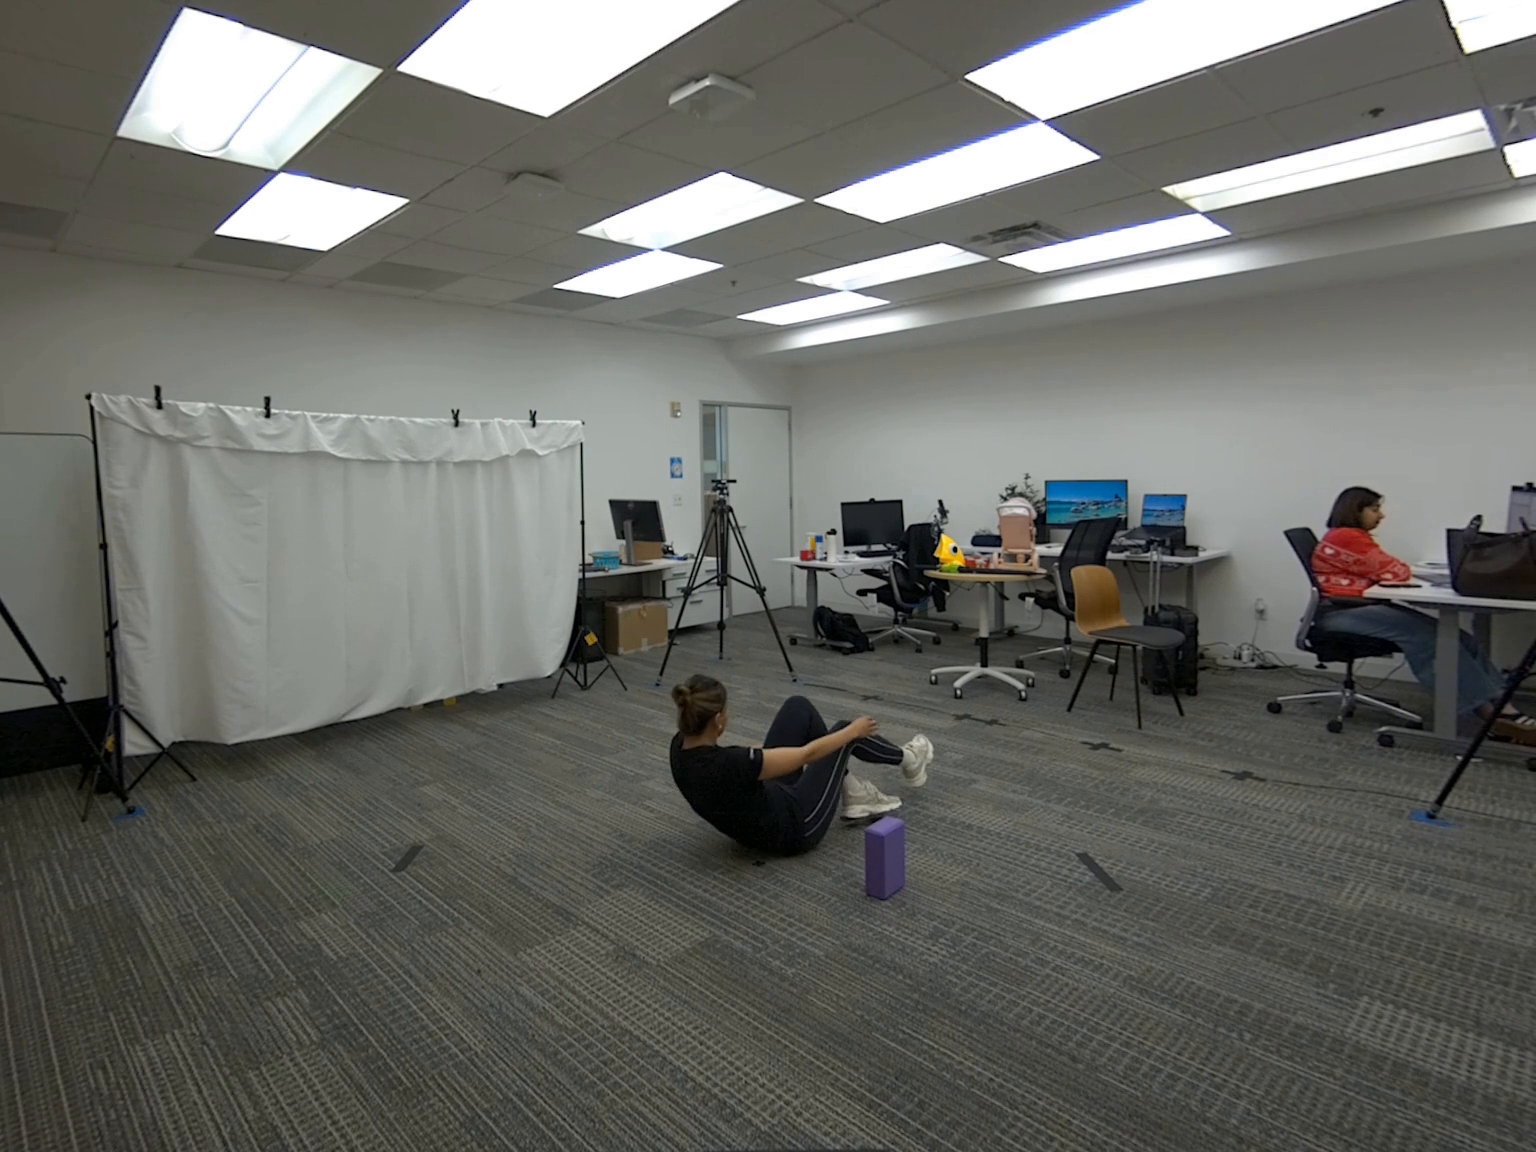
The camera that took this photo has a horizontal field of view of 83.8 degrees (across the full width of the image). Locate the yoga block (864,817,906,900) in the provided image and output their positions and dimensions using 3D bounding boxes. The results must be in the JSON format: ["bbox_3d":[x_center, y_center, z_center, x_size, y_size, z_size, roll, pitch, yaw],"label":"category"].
[{"bbox_3d":[0.395,0.953,2.881,0.079,0.228,0.145,3,5,36],"label":"yoga block"}]
